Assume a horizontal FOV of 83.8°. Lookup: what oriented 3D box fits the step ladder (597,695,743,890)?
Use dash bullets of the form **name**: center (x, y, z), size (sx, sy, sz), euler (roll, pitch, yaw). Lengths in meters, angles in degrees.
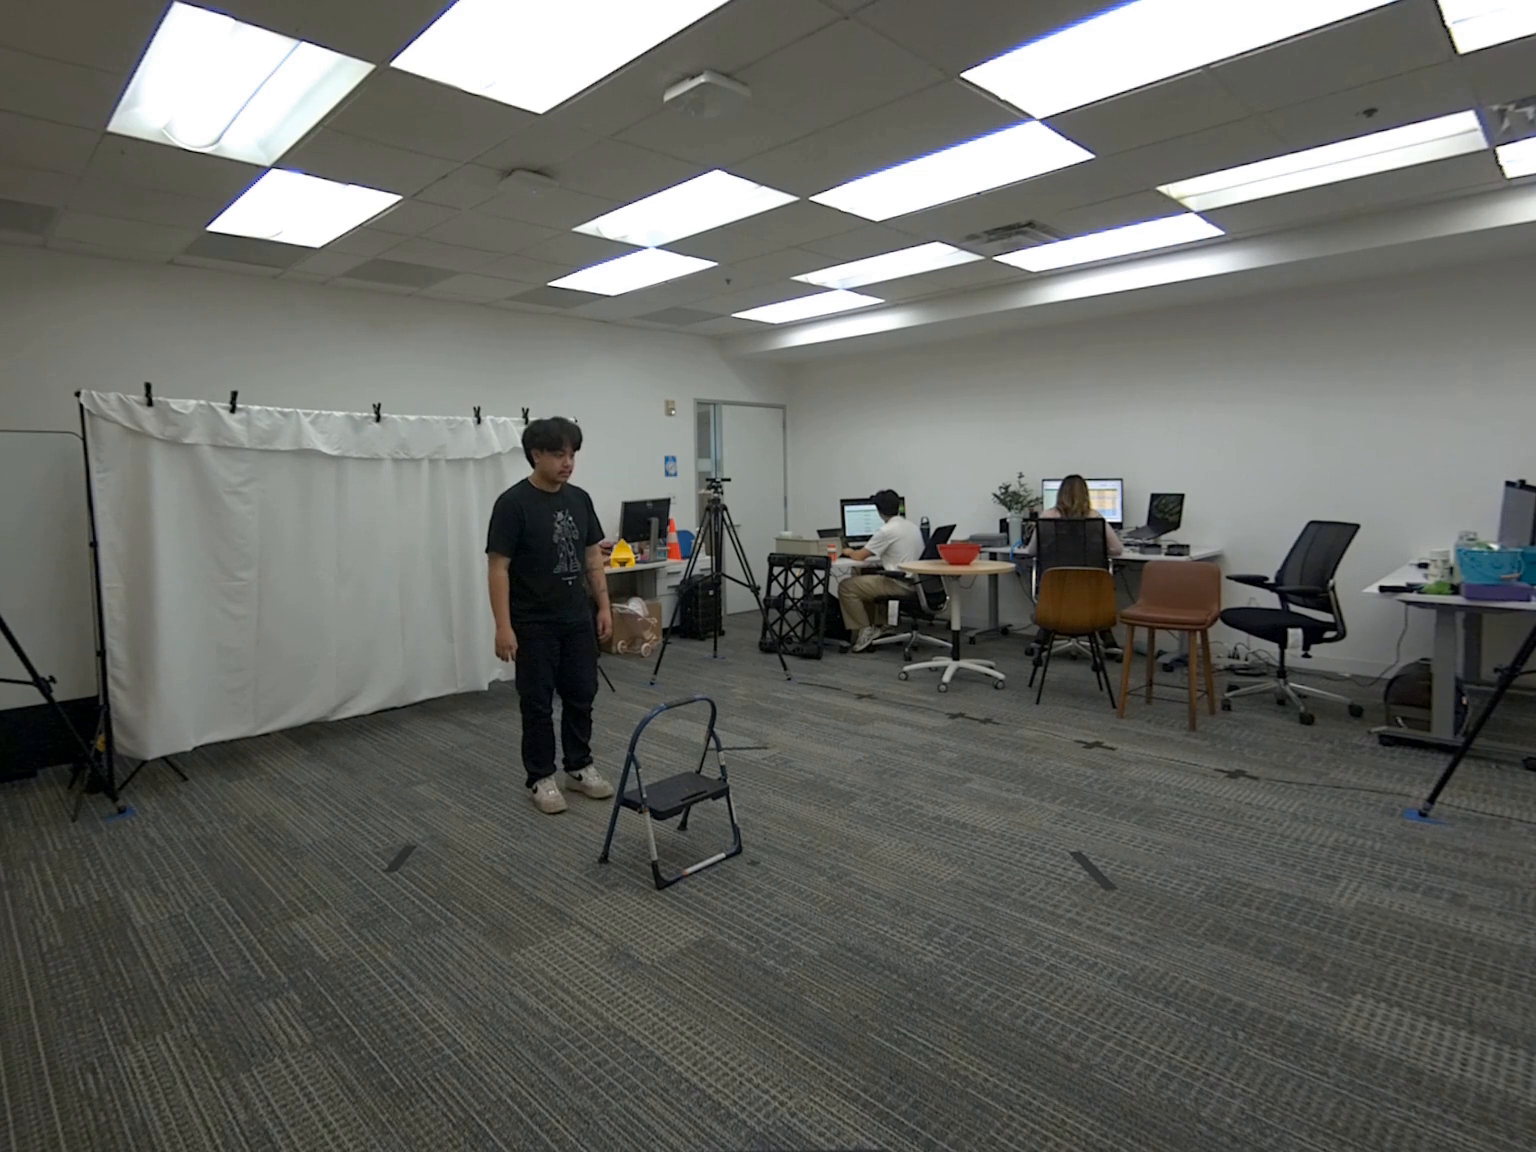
- **step ladder**: center (-0.362, 0.739, 3.148), size (0.360, 0.604, 0.419), euler (3, 6, 43)
